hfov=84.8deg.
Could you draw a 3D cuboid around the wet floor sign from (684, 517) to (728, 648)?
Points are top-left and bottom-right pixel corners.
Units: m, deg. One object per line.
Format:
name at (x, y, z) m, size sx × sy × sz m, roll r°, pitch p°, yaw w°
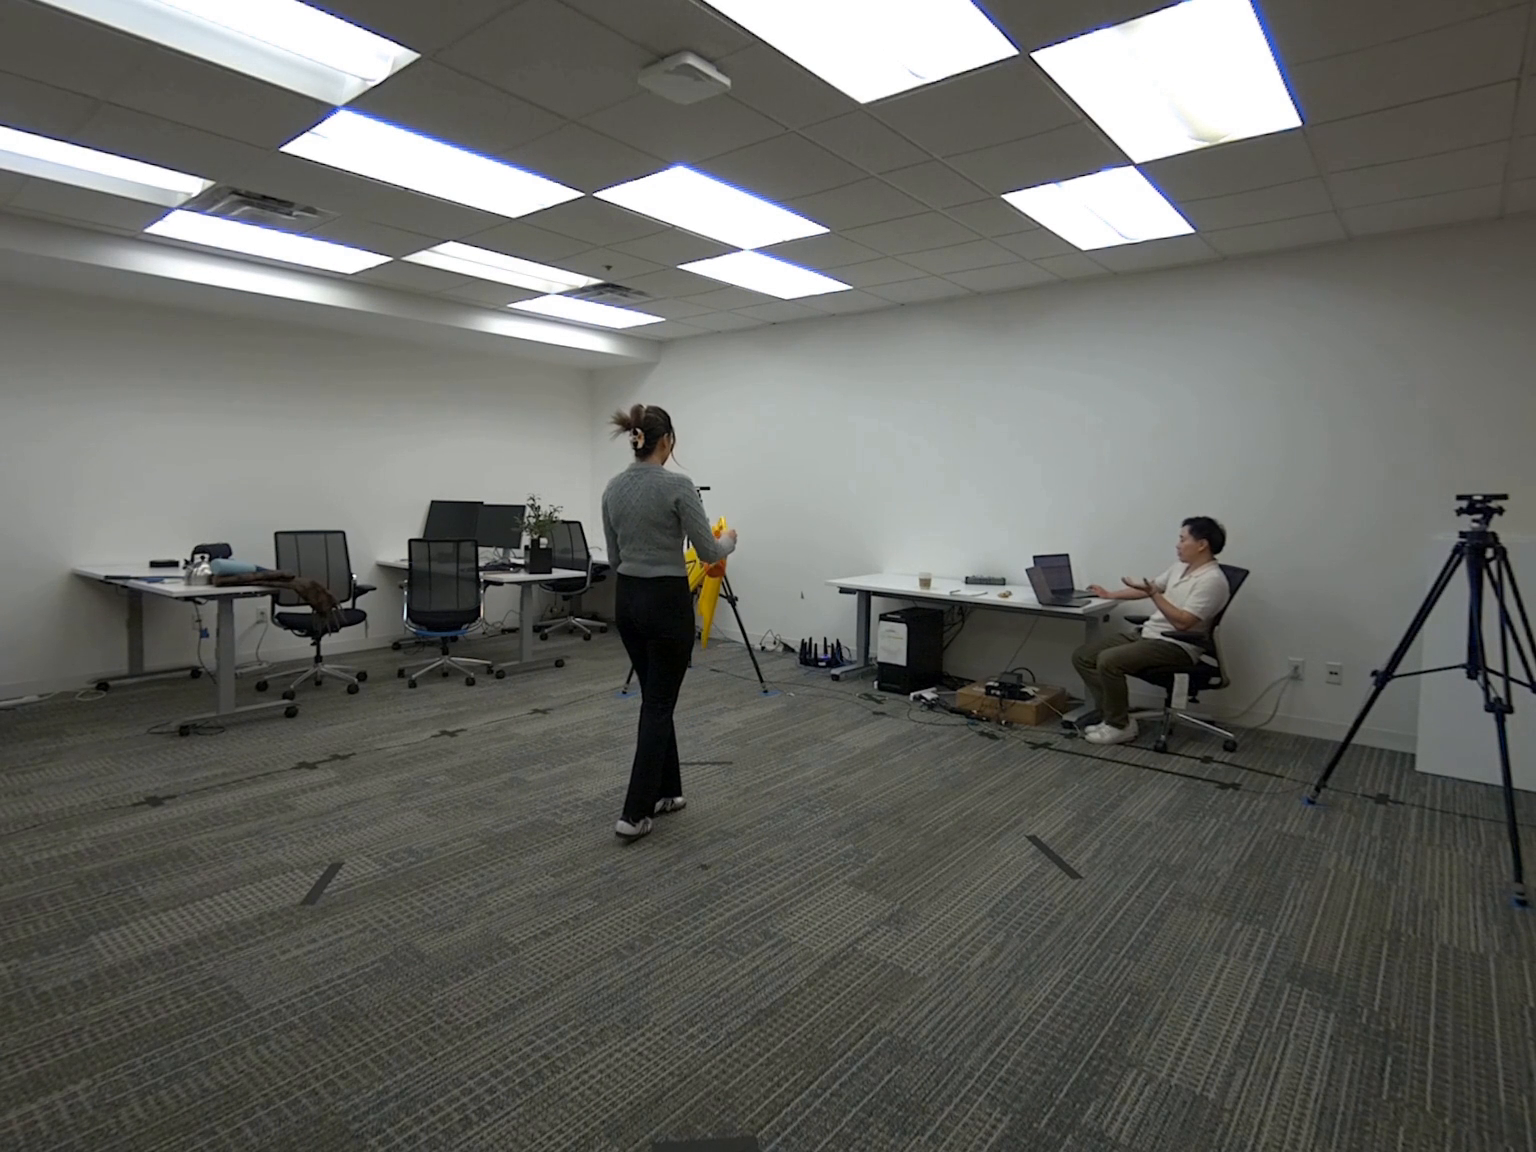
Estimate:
wet floor sign at (-0.323, 0.003, 3.938) m, size 0.282 × 0.292 × 0.641 m, roll 13°, pitch -48°, yaw -25°
